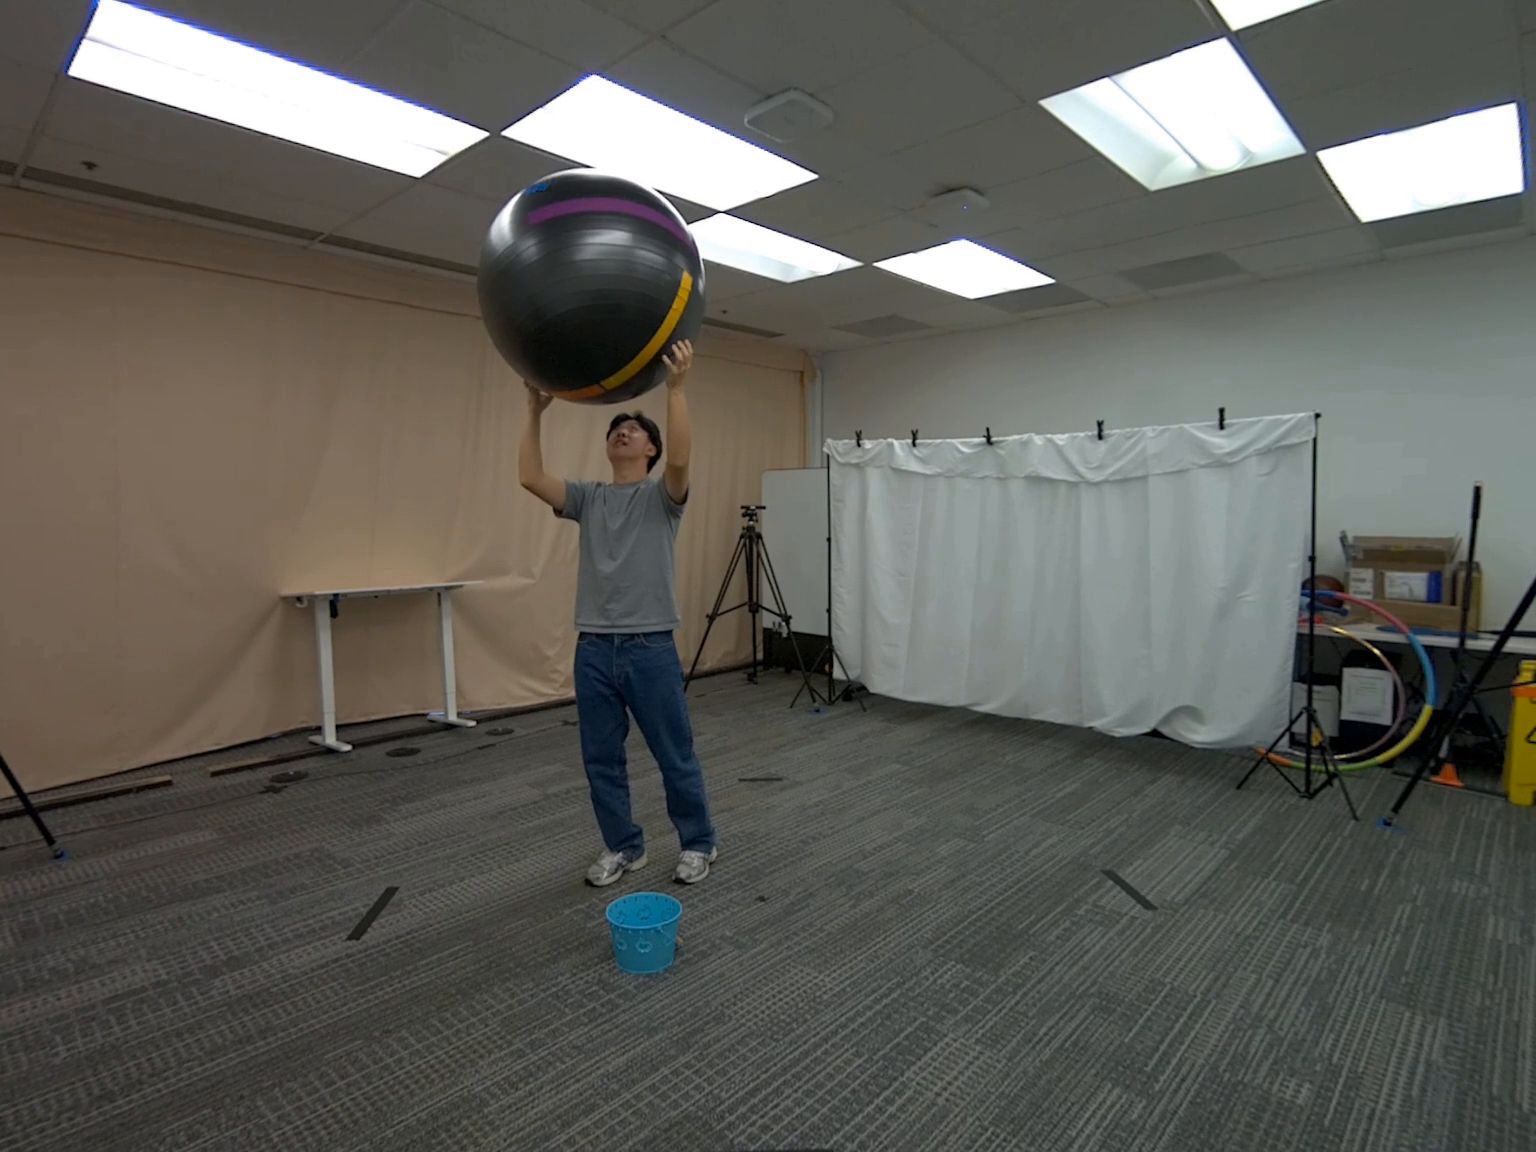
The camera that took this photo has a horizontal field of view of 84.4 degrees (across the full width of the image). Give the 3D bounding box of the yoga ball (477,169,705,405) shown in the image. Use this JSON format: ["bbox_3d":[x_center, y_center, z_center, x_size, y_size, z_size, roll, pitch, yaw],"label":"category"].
[{"bbox_3d":[-0.597,-0.947,2.836,0.757,0.756,0.761,0,4,-2],"label":"yoga ball"}]
